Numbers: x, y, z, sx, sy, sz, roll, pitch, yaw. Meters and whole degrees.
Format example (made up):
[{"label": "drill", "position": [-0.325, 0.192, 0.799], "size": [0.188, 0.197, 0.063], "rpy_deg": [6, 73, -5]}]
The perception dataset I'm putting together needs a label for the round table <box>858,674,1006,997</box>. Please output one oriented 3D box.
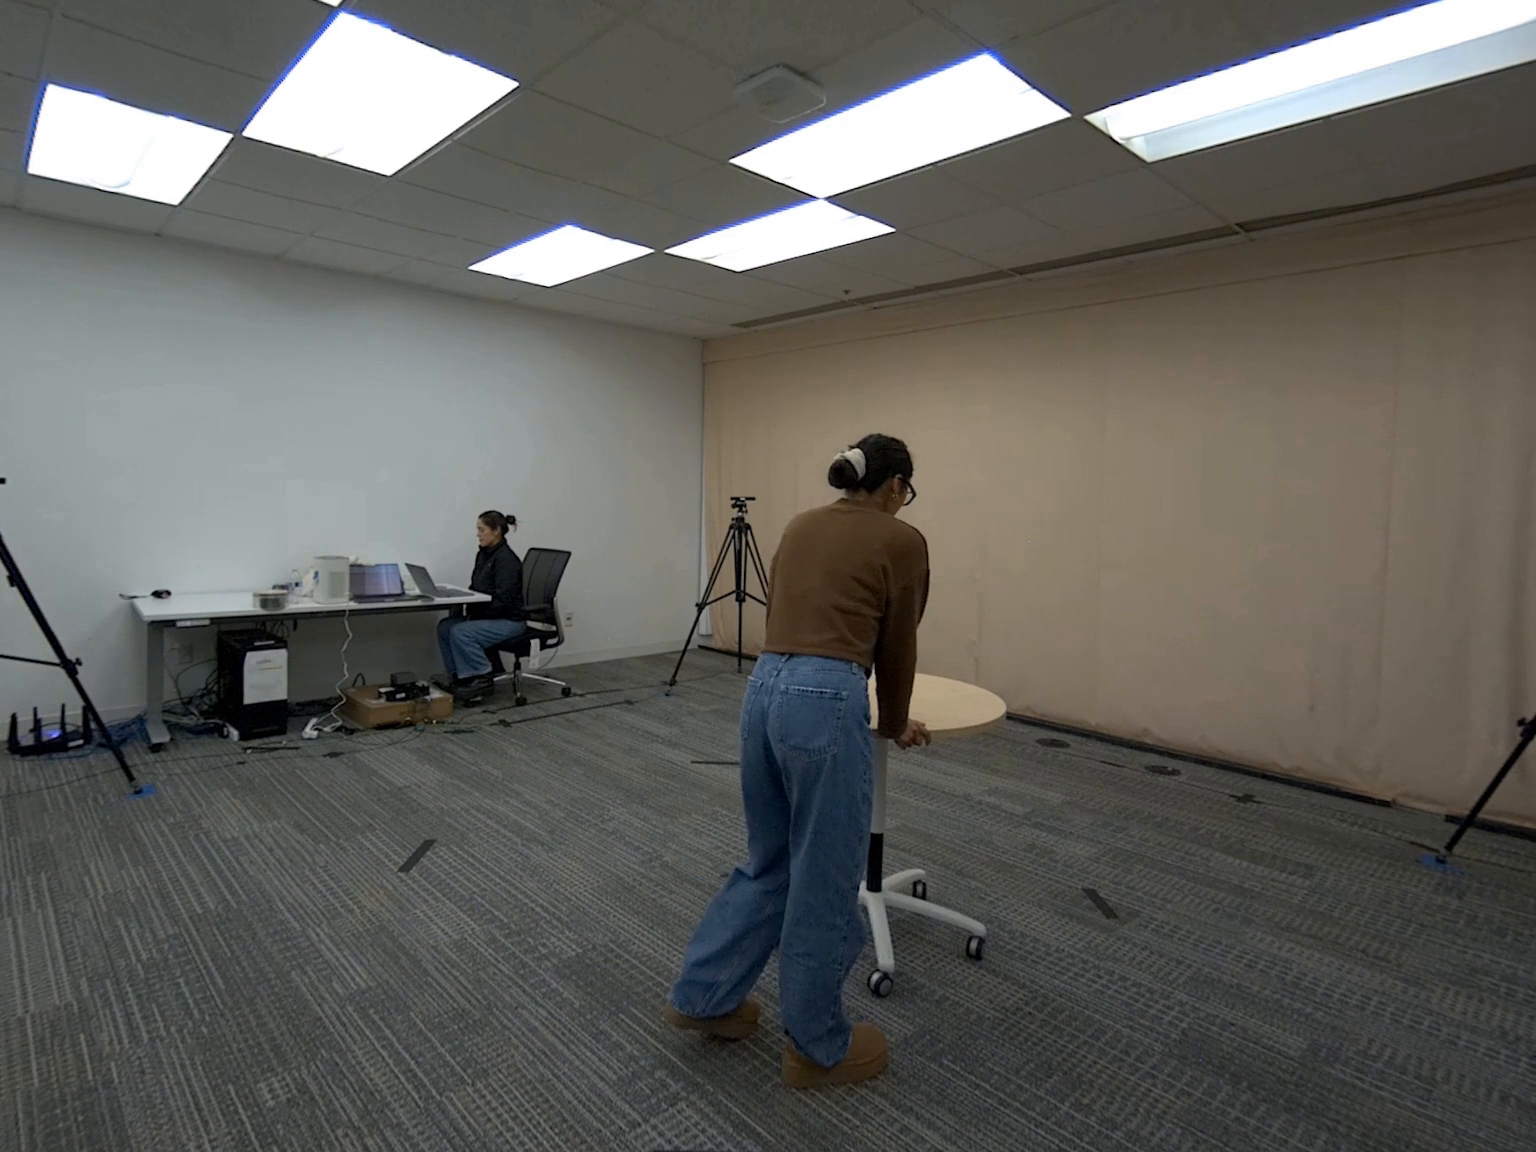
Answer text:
[{"label": "round table", "position": [0.347, 0.774, 2.697], "size": [0.763, 0.791, 0.767], "rpy_deg": [2, 5, -1]}]
